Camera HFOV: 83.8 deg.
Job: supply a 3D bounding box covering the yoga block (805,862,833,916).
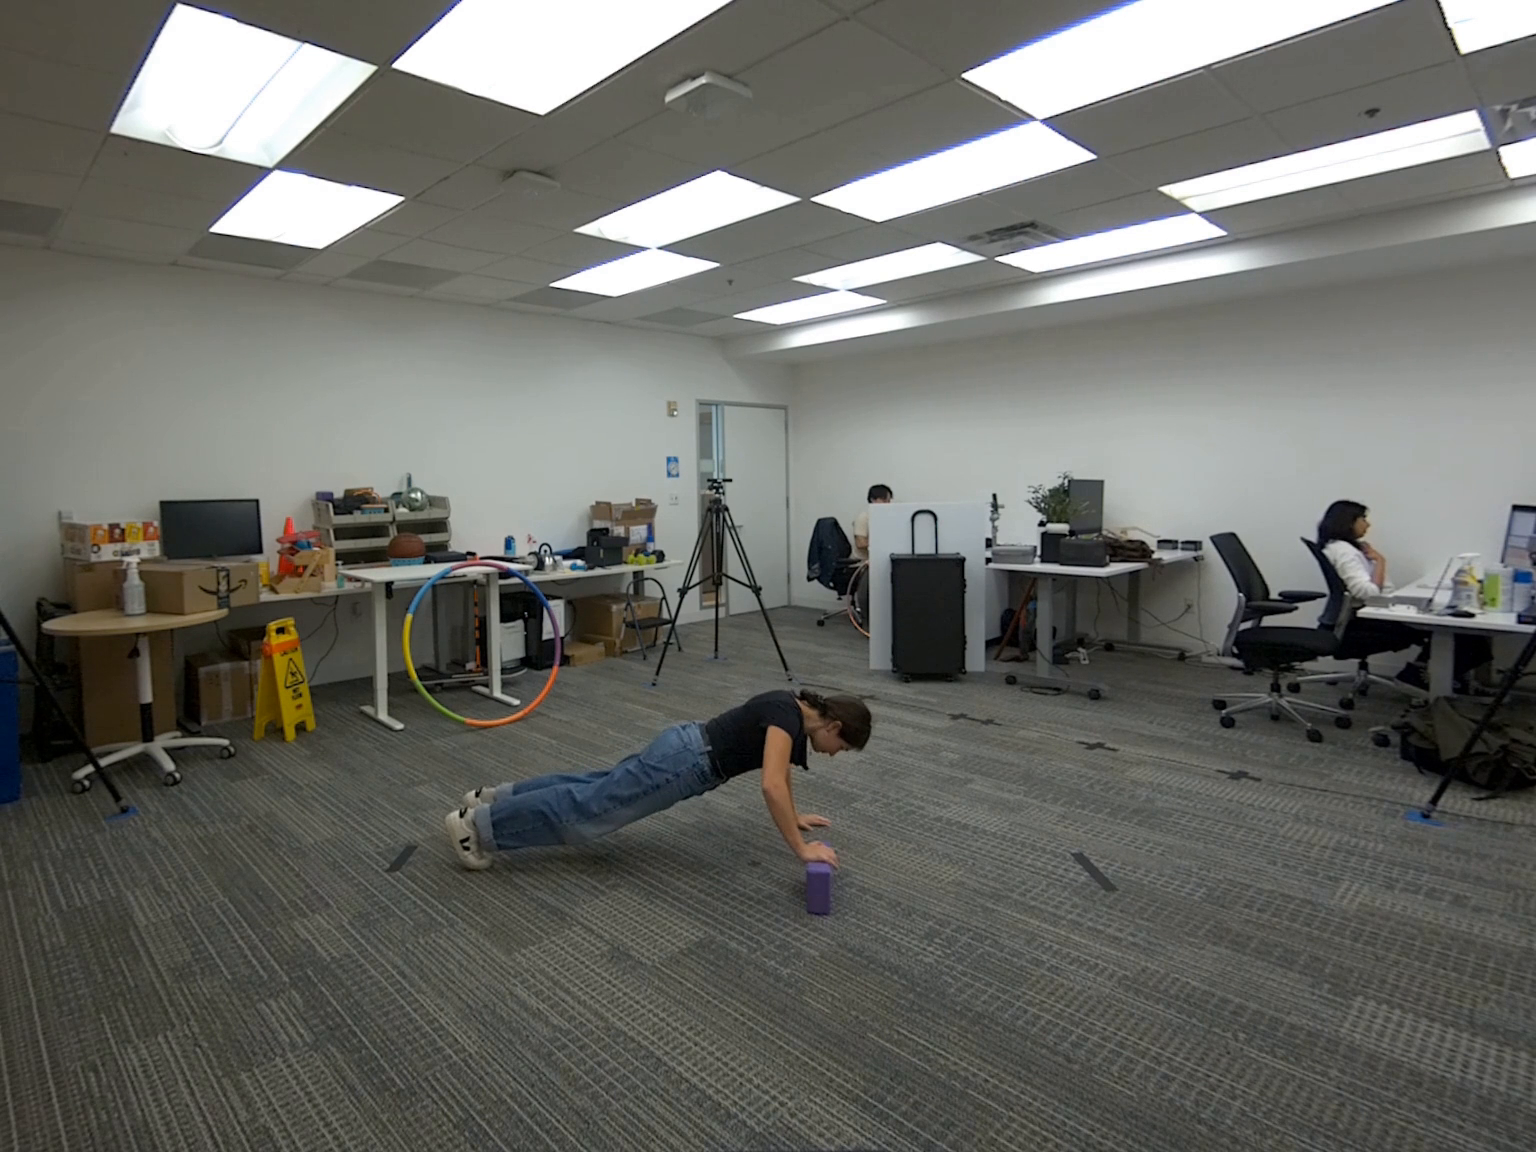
[{"bbox_3d":[0.172,0.999,2.839,0.077,0.148,0.229,-1,4,2],"label":"yoga block"}]
